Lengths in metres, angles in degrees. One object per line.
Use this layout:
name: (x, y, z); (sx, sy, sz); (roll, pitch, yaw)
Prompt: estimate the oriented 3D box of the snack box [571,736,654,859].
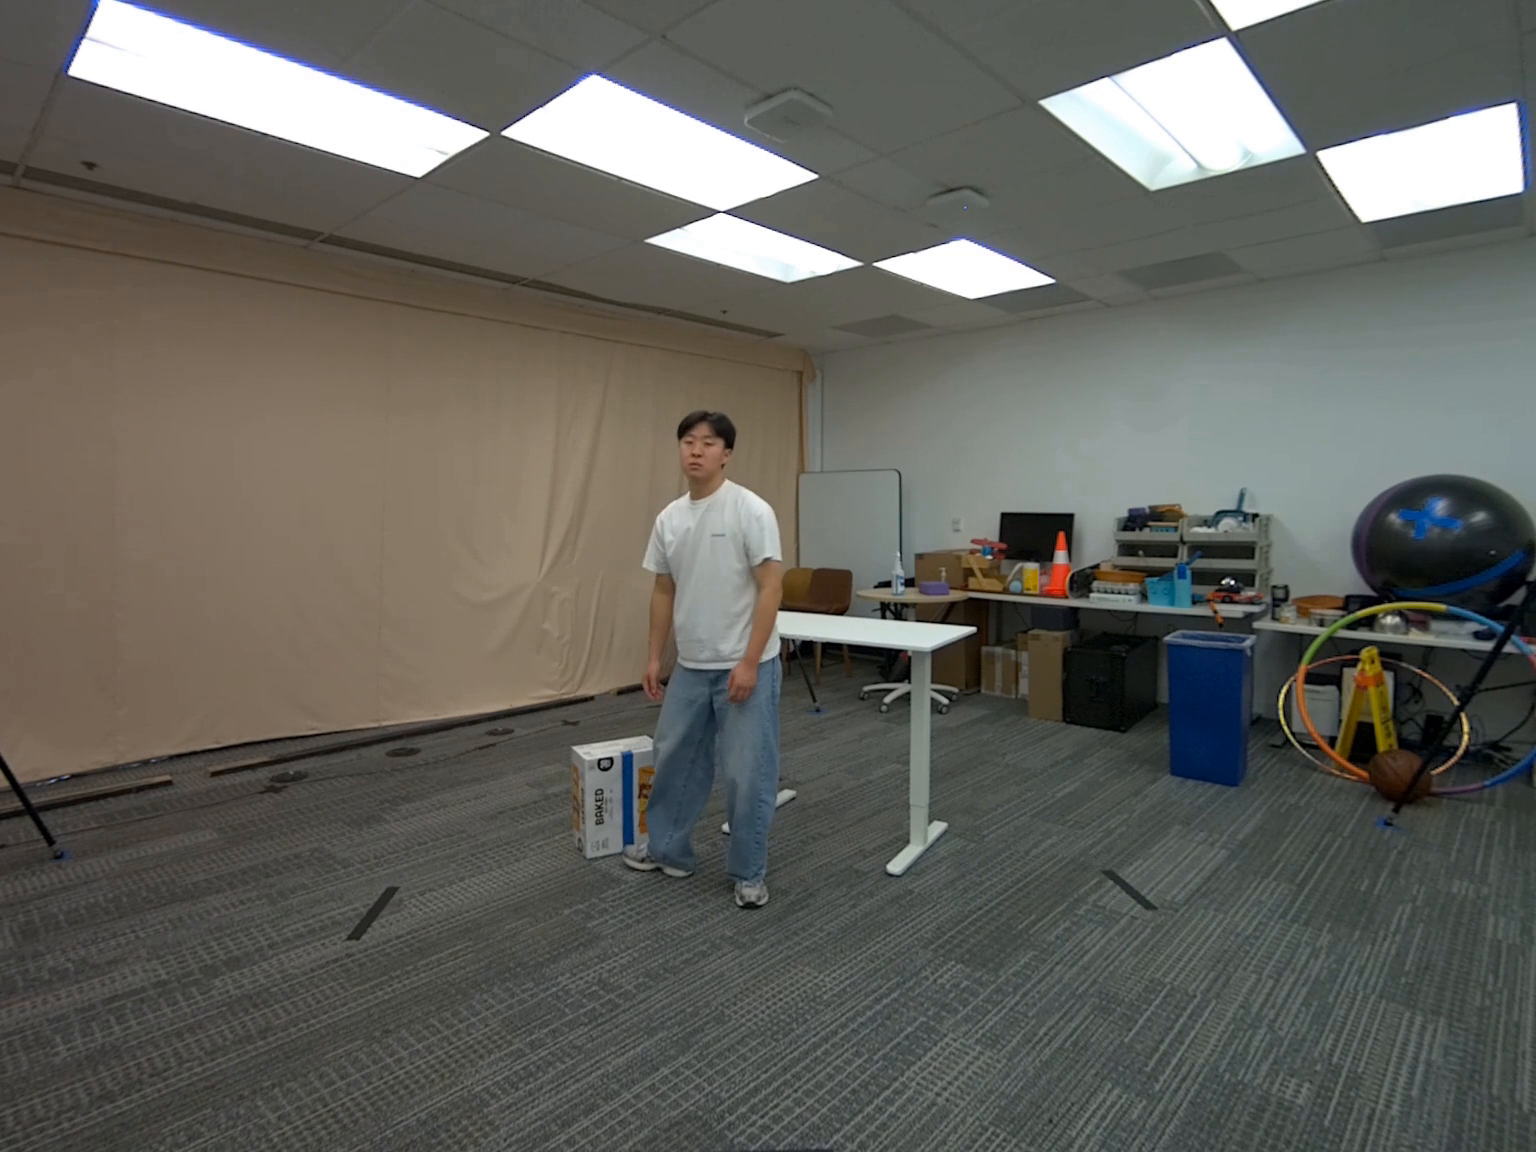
snack box: (-0.622, 0.905, 3.480); (0.331, 0.404, 0.211); (-3, 4, -28)
